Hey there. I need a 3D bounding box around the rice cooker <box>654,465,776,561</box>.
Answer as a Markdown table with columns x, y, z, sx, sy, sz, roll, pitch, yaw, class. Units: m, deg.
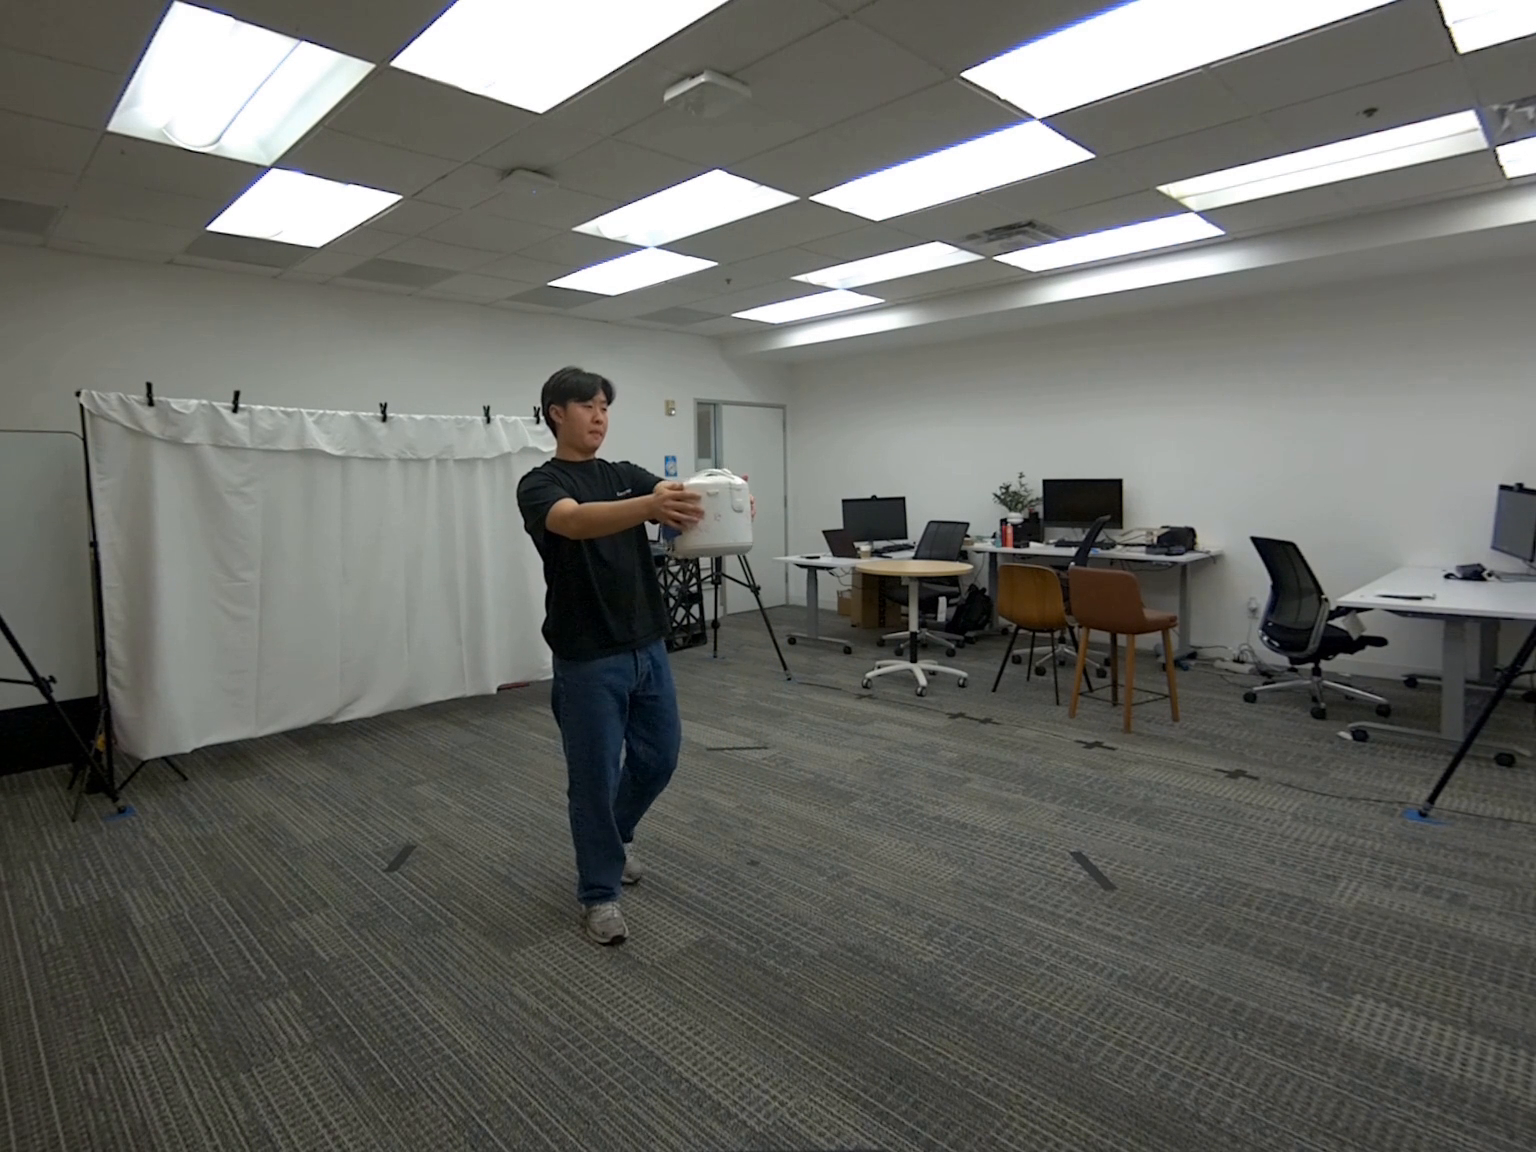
| x | y | z | sx | sy | sz | roll | pitch | yaw | class |
| --- | --- | --- | --- | --- | --- | --- | --- | --- | --- |
| -0.141 | -0.164 | 2.256 | 0.211 | 0.233 | 0.227 | -3 | 2 | -44 | rice cooker |
